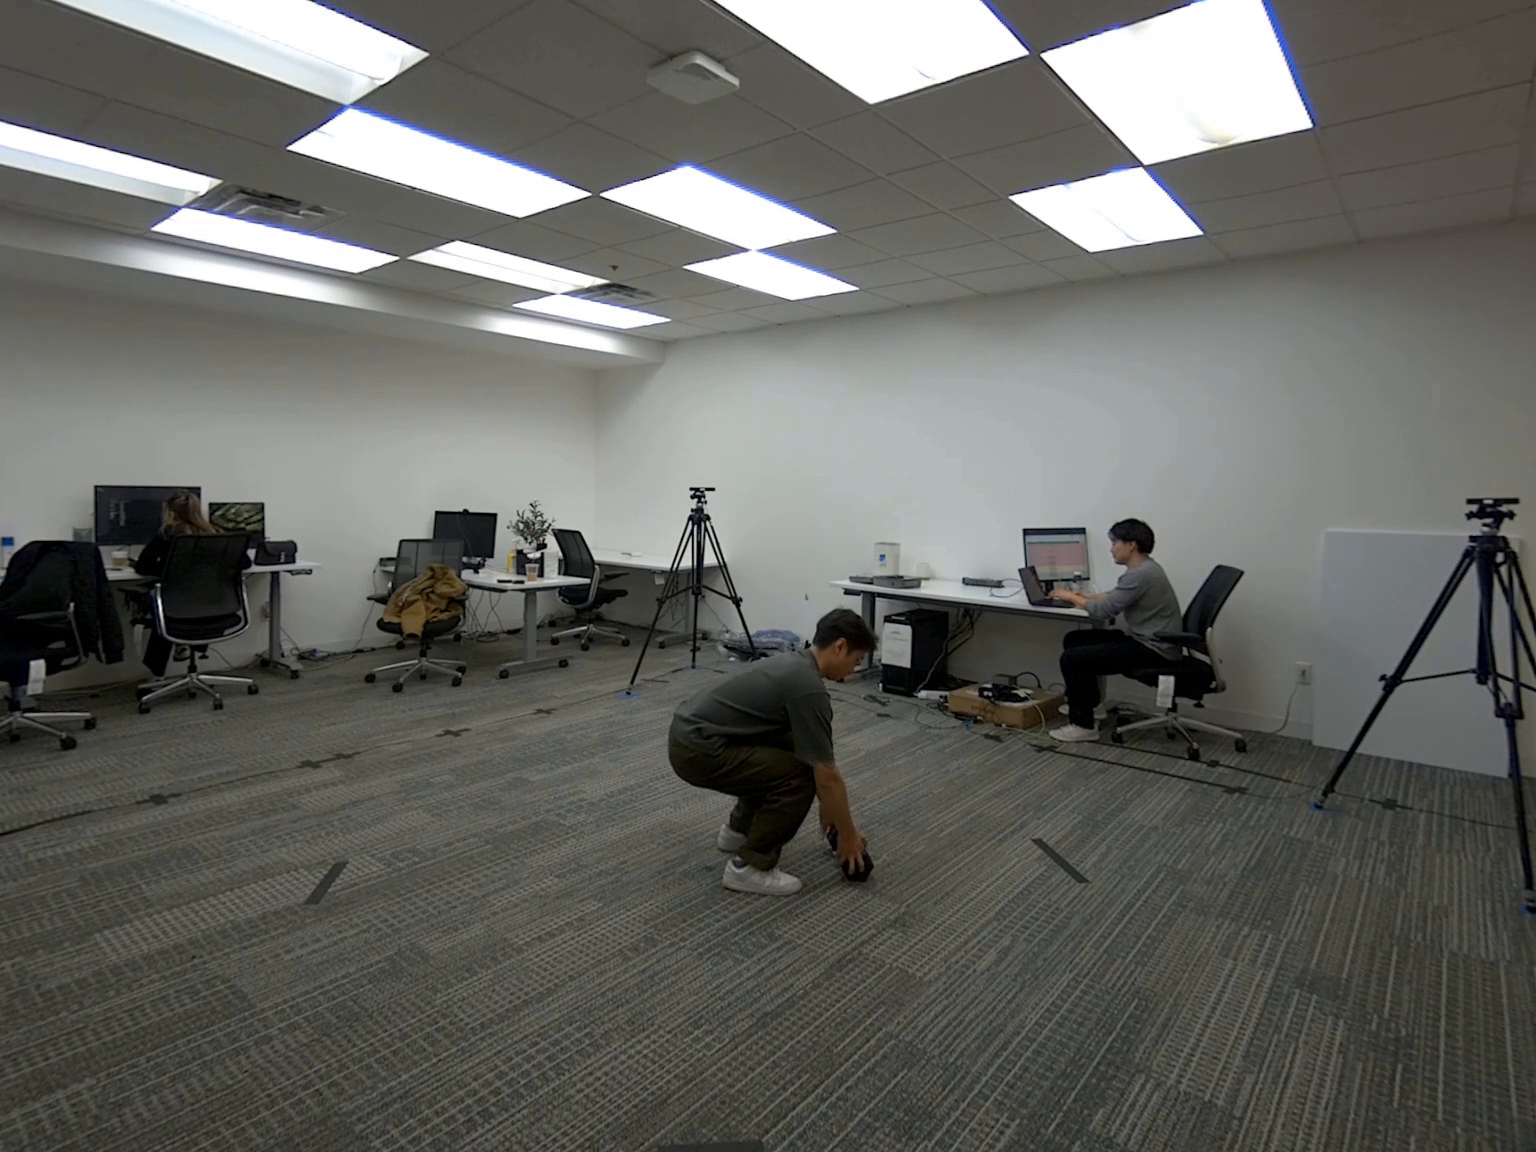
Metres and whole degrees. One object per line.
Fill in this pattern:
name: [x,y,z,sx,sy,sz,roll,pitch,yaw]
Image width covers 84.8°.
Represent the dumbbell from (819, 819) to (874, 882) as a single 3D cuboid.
dumbbell: [0.293,1.023,3.165,0.108,0.122,0.297,-28,9,-4]
